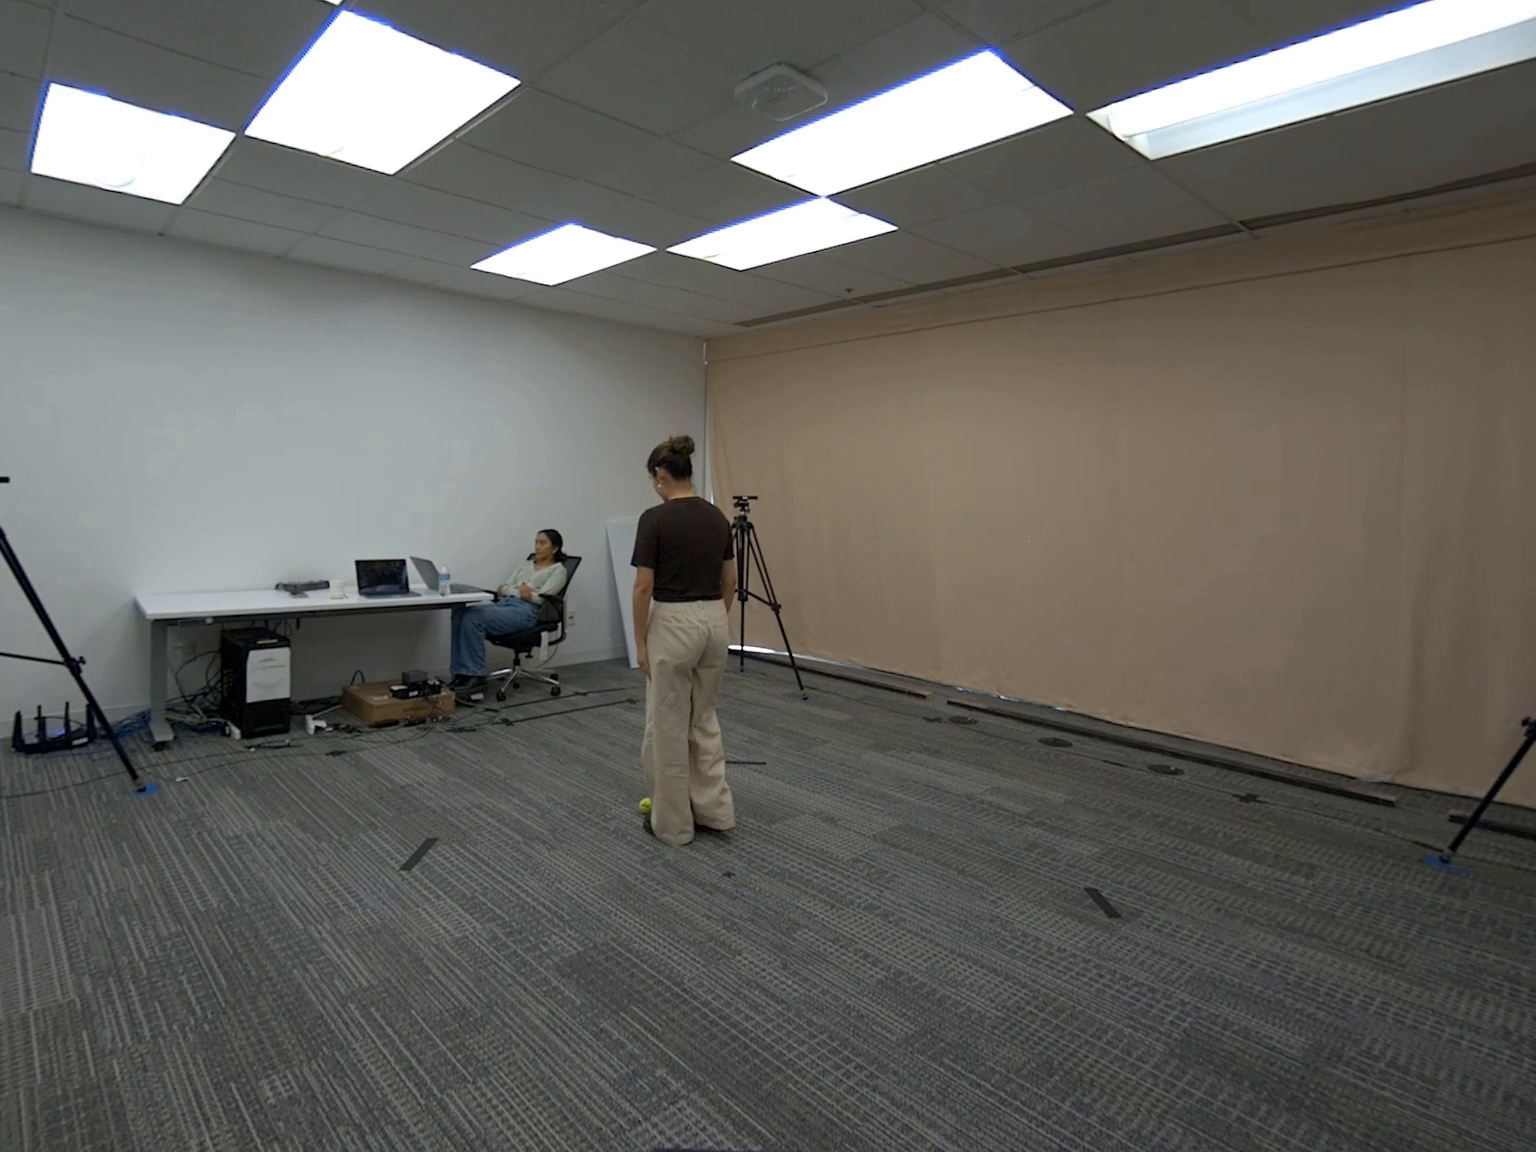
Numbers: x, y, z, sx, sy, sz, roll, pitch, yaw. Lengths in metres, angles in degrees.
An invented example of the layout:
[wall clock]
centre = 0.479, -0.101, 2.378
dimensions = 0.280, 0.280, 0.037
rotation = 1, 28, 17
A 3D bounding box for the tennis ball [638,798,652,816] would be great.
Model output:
[tennis ball]
centre = -0.539, 0.995, 3.680
dimensions = 0.066, 0.066, 0.067
rotation = 1, 4, -1
